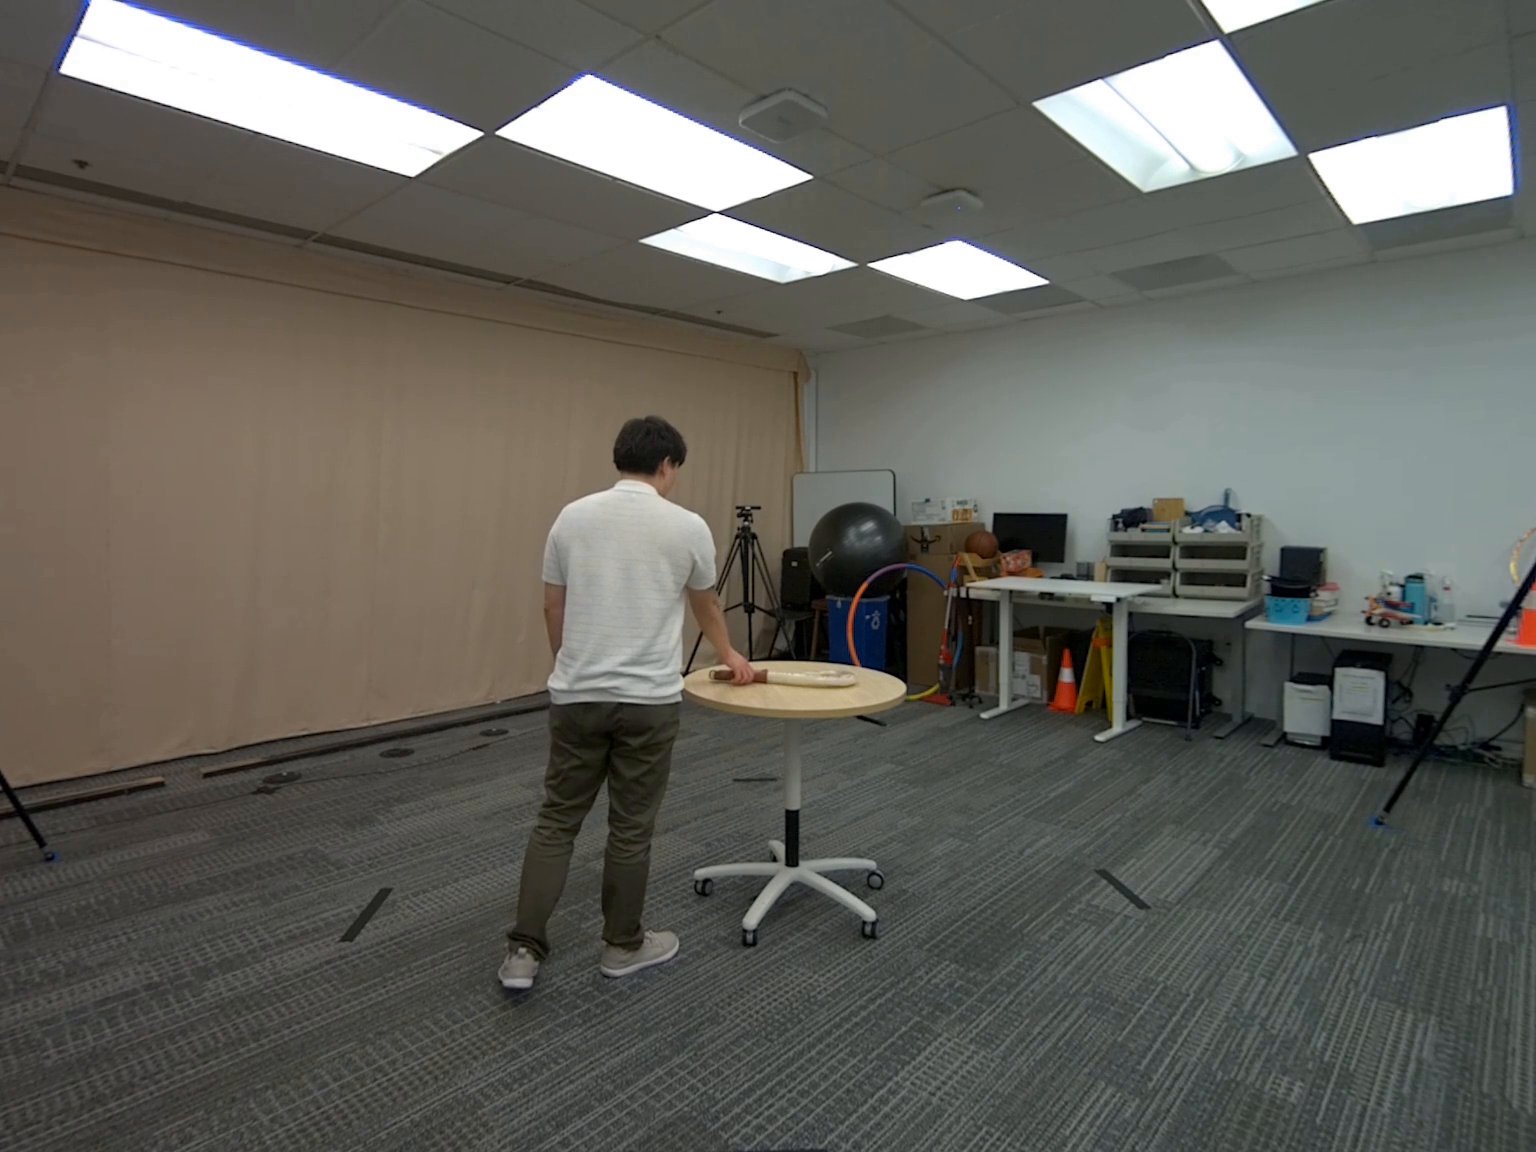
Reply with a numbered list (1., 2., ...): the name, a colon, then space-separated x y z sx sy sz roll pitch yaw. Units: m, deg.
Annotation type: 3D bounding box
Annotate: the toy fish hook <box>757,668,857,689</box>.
1. toy fish hook: 0.058 0.352 2.928 0.510 0.048 0.222 2 -2 6
